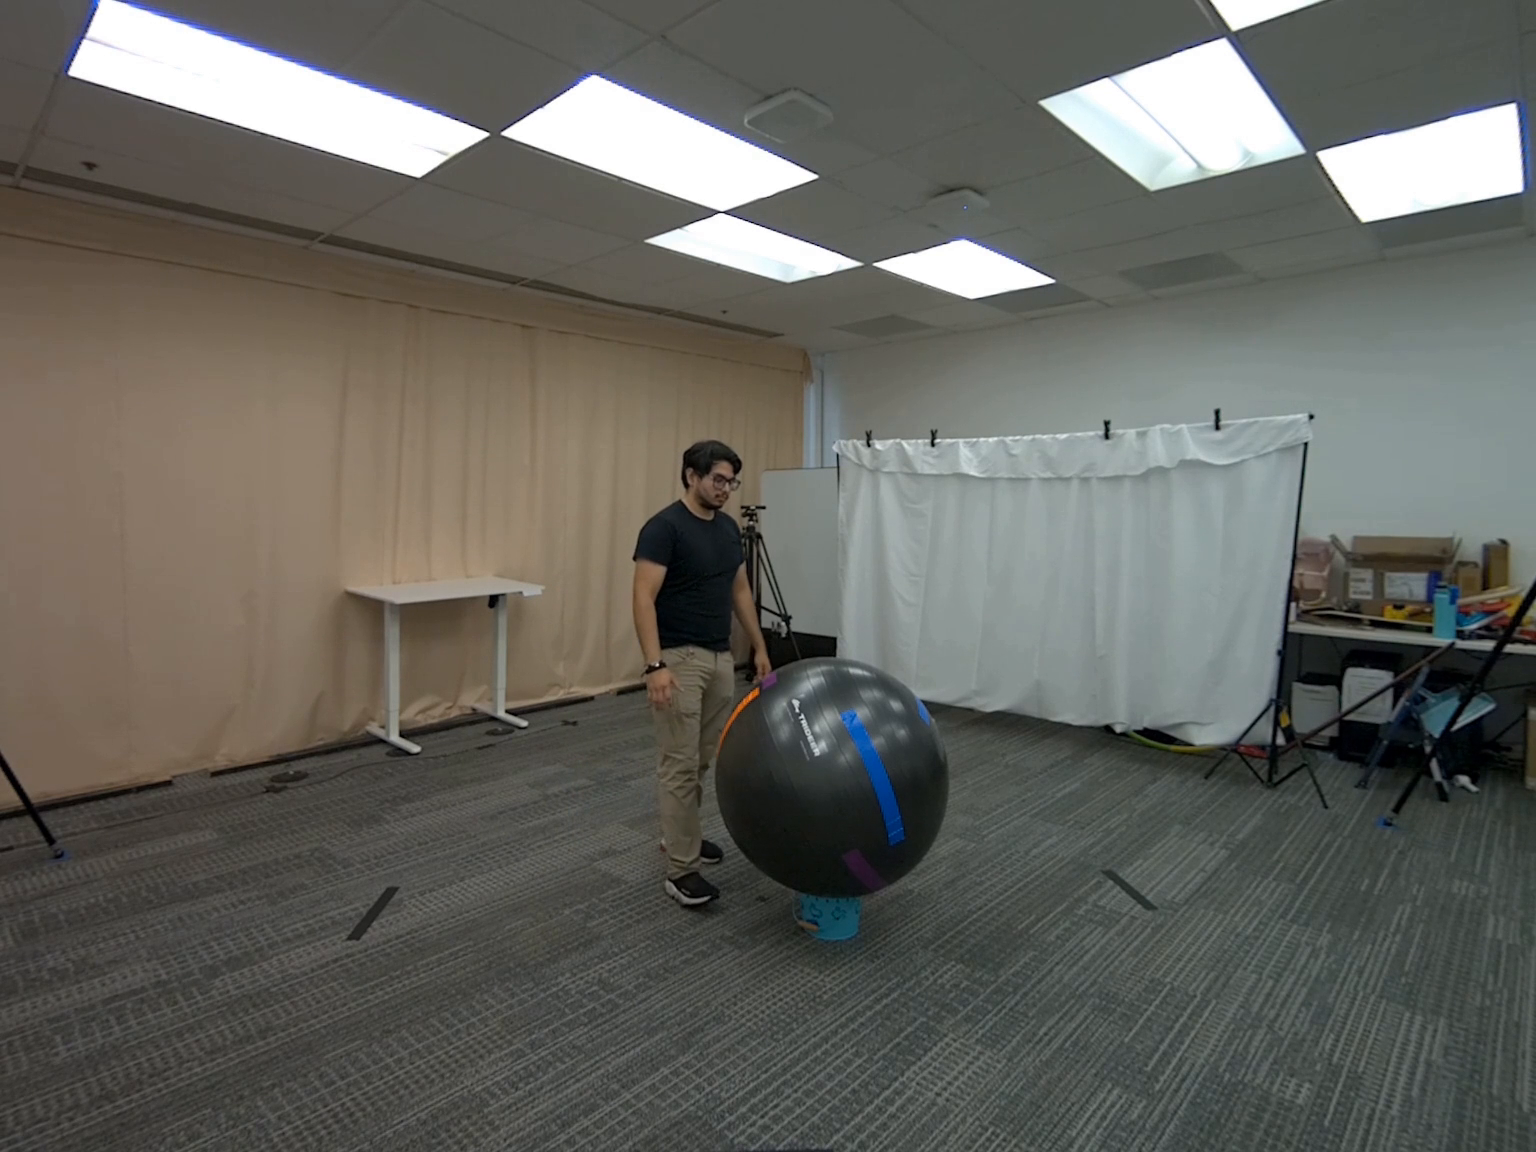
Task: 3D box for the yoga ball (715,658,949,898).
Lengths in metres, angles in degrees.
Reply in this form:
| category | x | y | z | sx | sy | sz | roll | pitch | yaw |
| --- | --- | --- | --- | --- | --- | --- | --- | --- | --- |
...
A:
| category | x | y | z | sx | sy | sz | roll | pitch | yaw |
| --- | --- | --- | --- | --- | --- | --- | --- | --- | --- |
| yoga ball | 0.209 | 0.656 | 2.766 | 0.757 | 0.756 | 0.761 | 0 | 4 | -2 |
